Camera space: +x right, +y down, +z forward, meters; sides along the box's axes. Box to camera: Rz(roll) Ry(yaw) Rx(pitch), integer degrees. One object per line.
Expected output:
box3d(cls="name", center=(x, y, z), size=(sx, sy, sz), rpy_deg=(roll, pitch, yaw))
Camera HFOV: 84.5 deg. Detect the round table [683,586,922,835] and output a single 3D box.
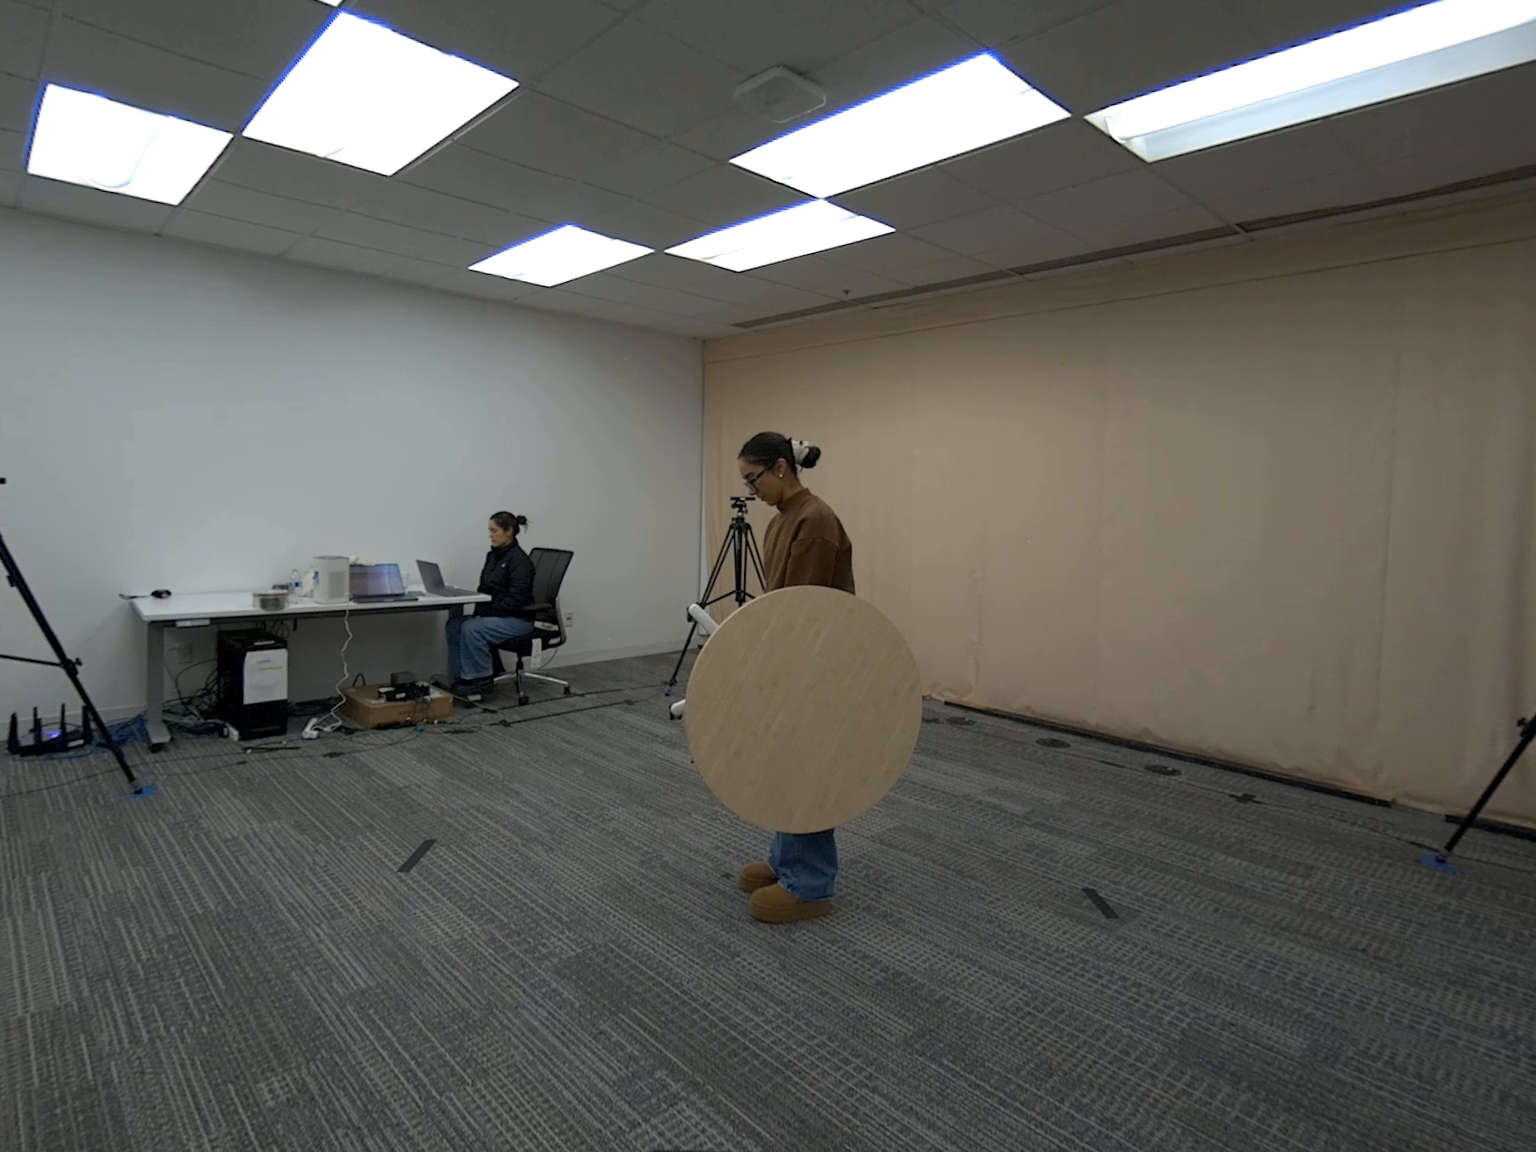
box3d(cls="round table", center=(0.017, 0.403, 2.985), size=(0.755, 0.764, 0.803), rpy_deg=(0, 1, -15))
